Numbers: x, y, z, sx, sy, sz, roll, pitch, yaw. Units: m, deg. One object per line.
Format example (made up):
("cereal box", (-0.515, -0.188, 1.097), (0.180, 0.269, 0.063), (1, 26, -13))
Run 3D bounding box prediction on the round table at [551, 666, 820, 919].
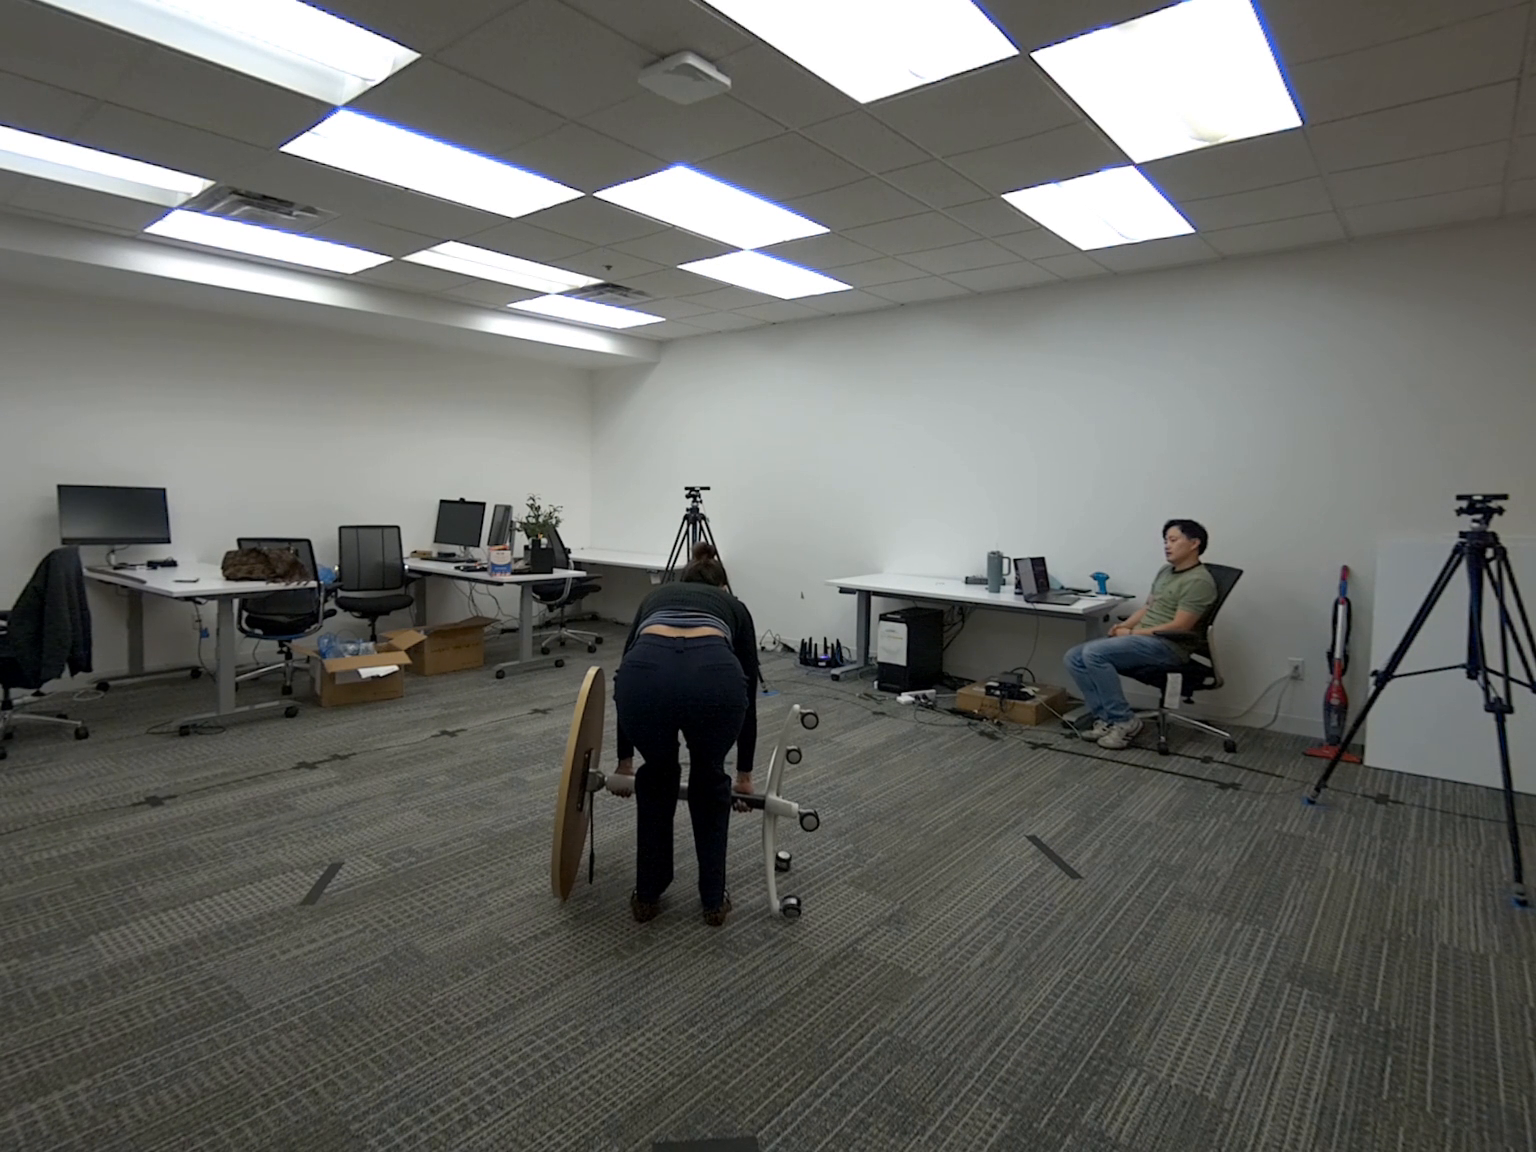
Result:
("round table", (-0.271, 0.745, 2.928), (0.794, 0.762, 0.767), (7, 4, -1))
